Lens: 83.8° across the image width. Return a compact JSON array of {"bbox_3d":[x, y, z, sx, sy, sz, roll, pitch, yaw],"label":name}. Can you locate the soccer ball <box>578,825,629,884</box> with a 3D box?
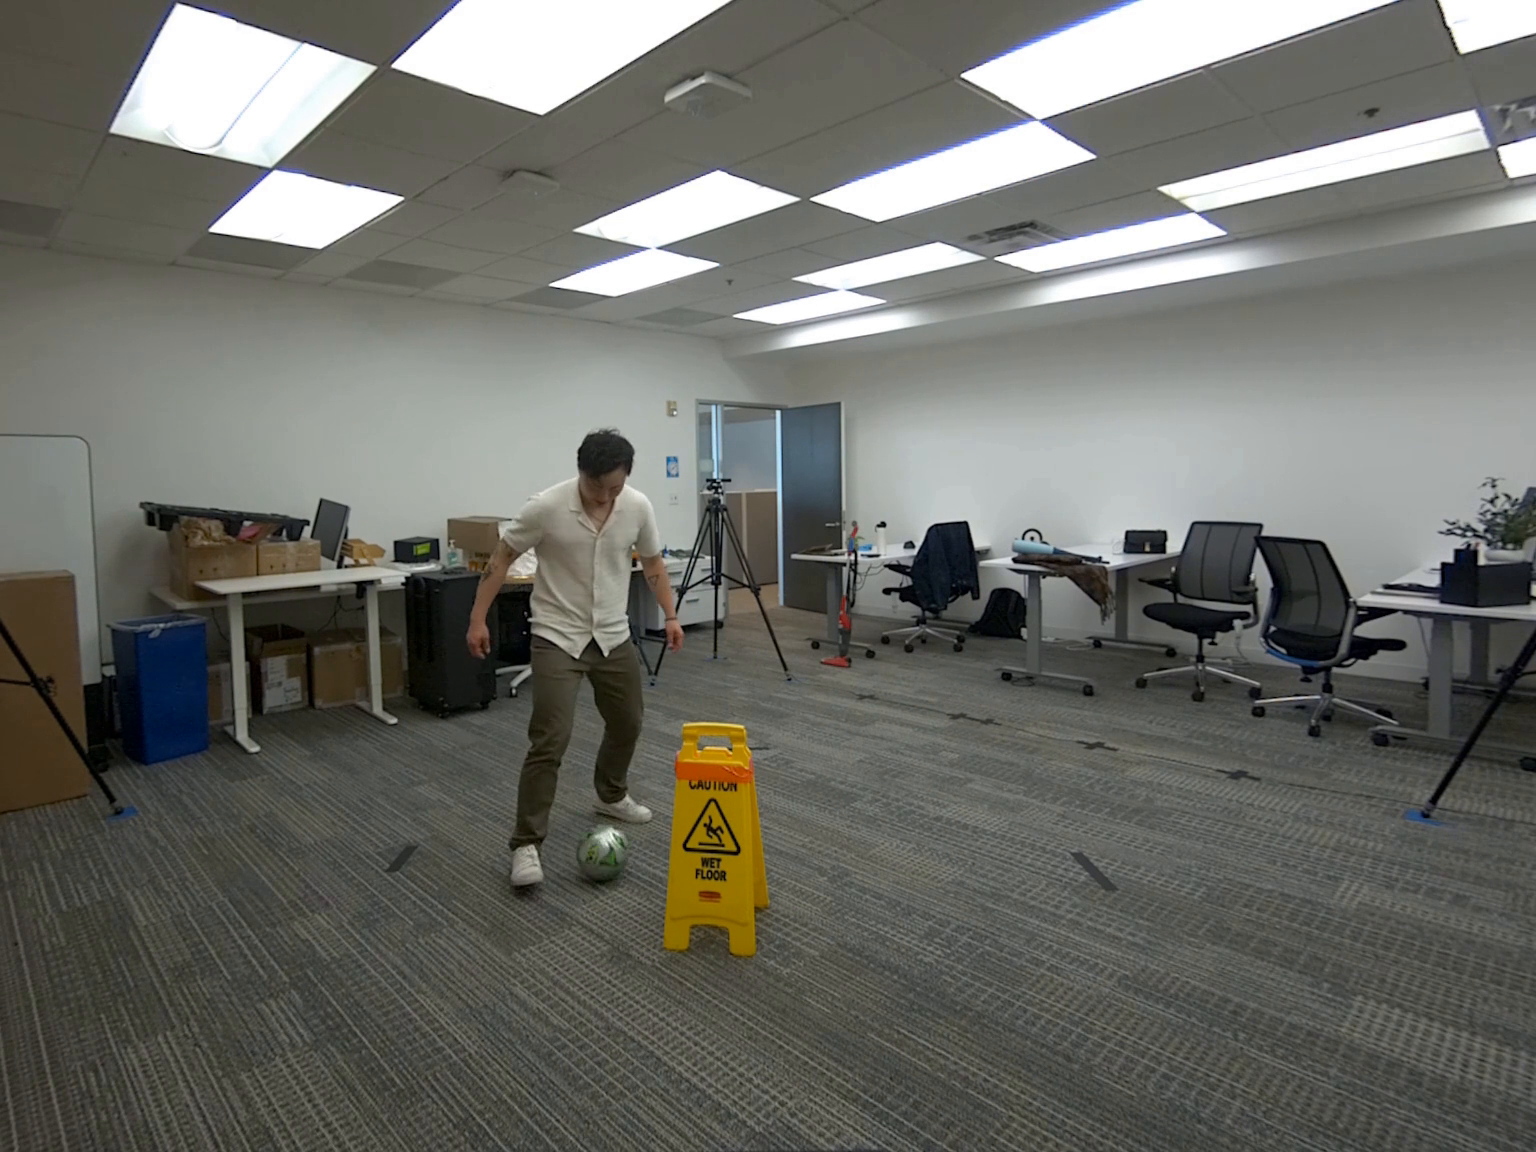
[{"bbox_3d":[-0.587,0.967,3.008,0.187,0.187,0.188,-1,5,-2],"label":"soccer ball"}]
